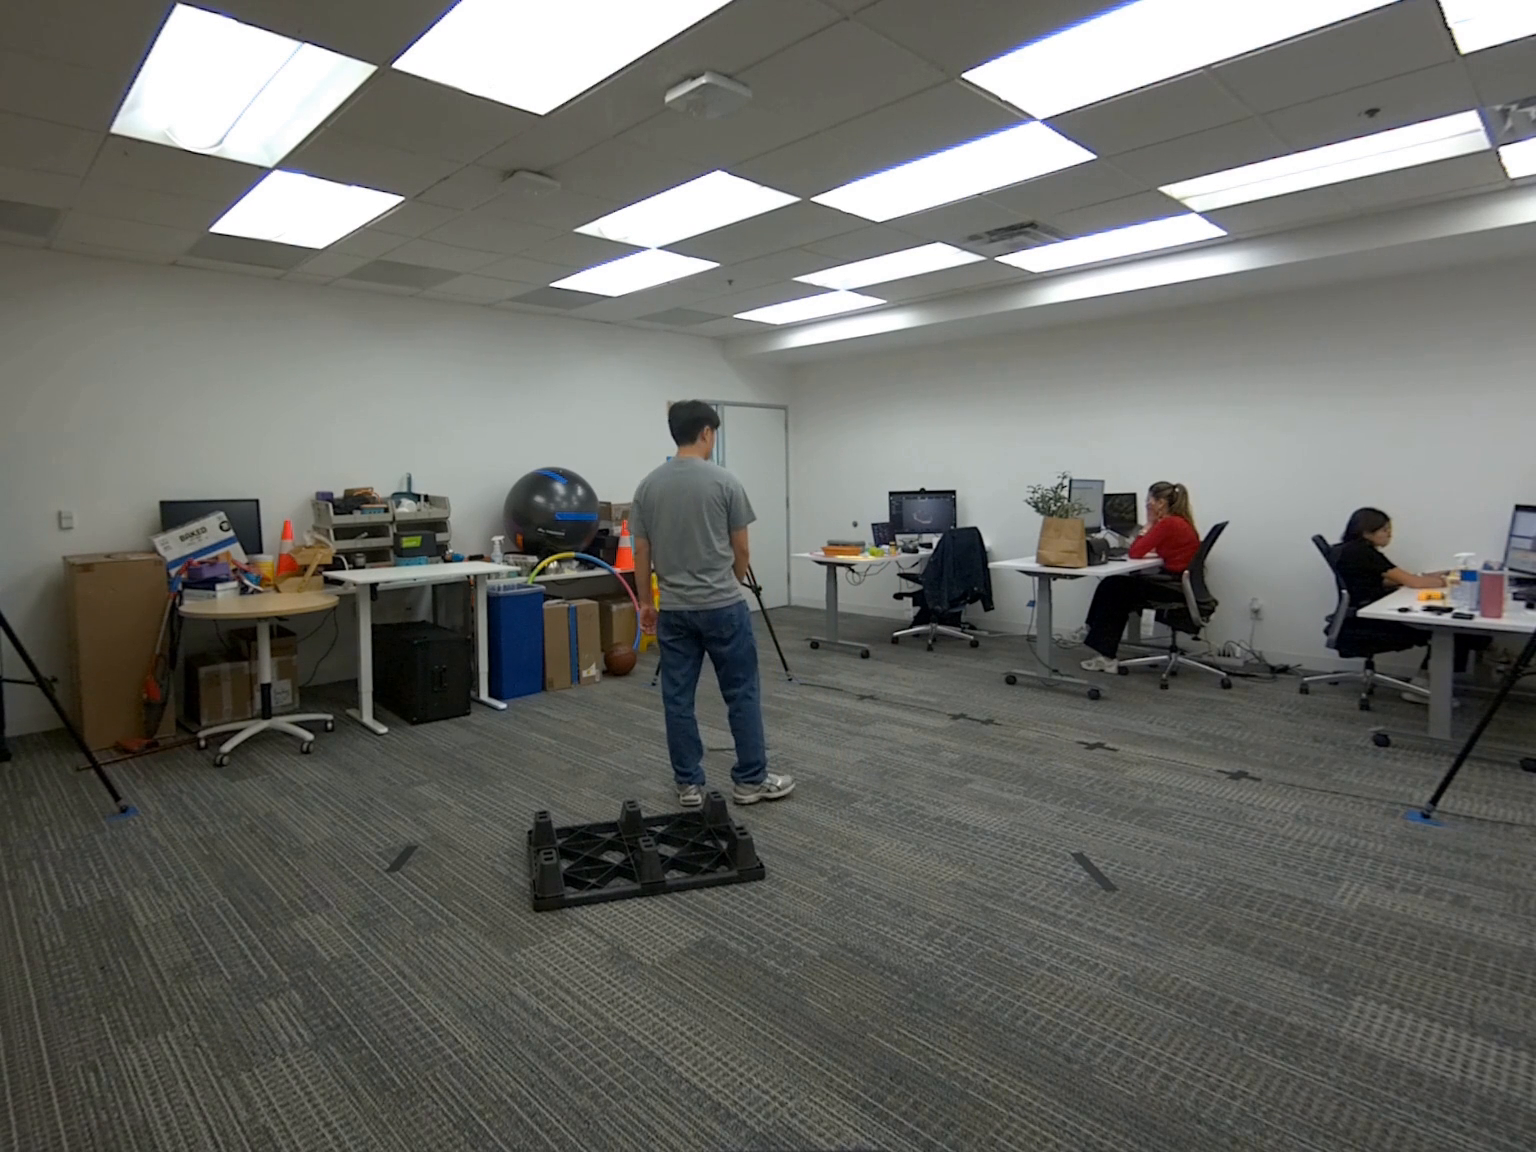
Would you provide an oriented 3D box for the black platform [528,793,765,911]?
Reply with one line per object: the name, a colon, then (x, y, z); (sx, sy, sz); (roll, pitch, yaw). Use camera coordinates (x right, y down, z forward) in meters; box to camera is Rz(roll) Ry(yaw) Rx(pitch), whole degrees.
black platform: (-0.472, 0.978, 3.156); (0.794, 0.143, 0.617); (-3, 6, -17)
